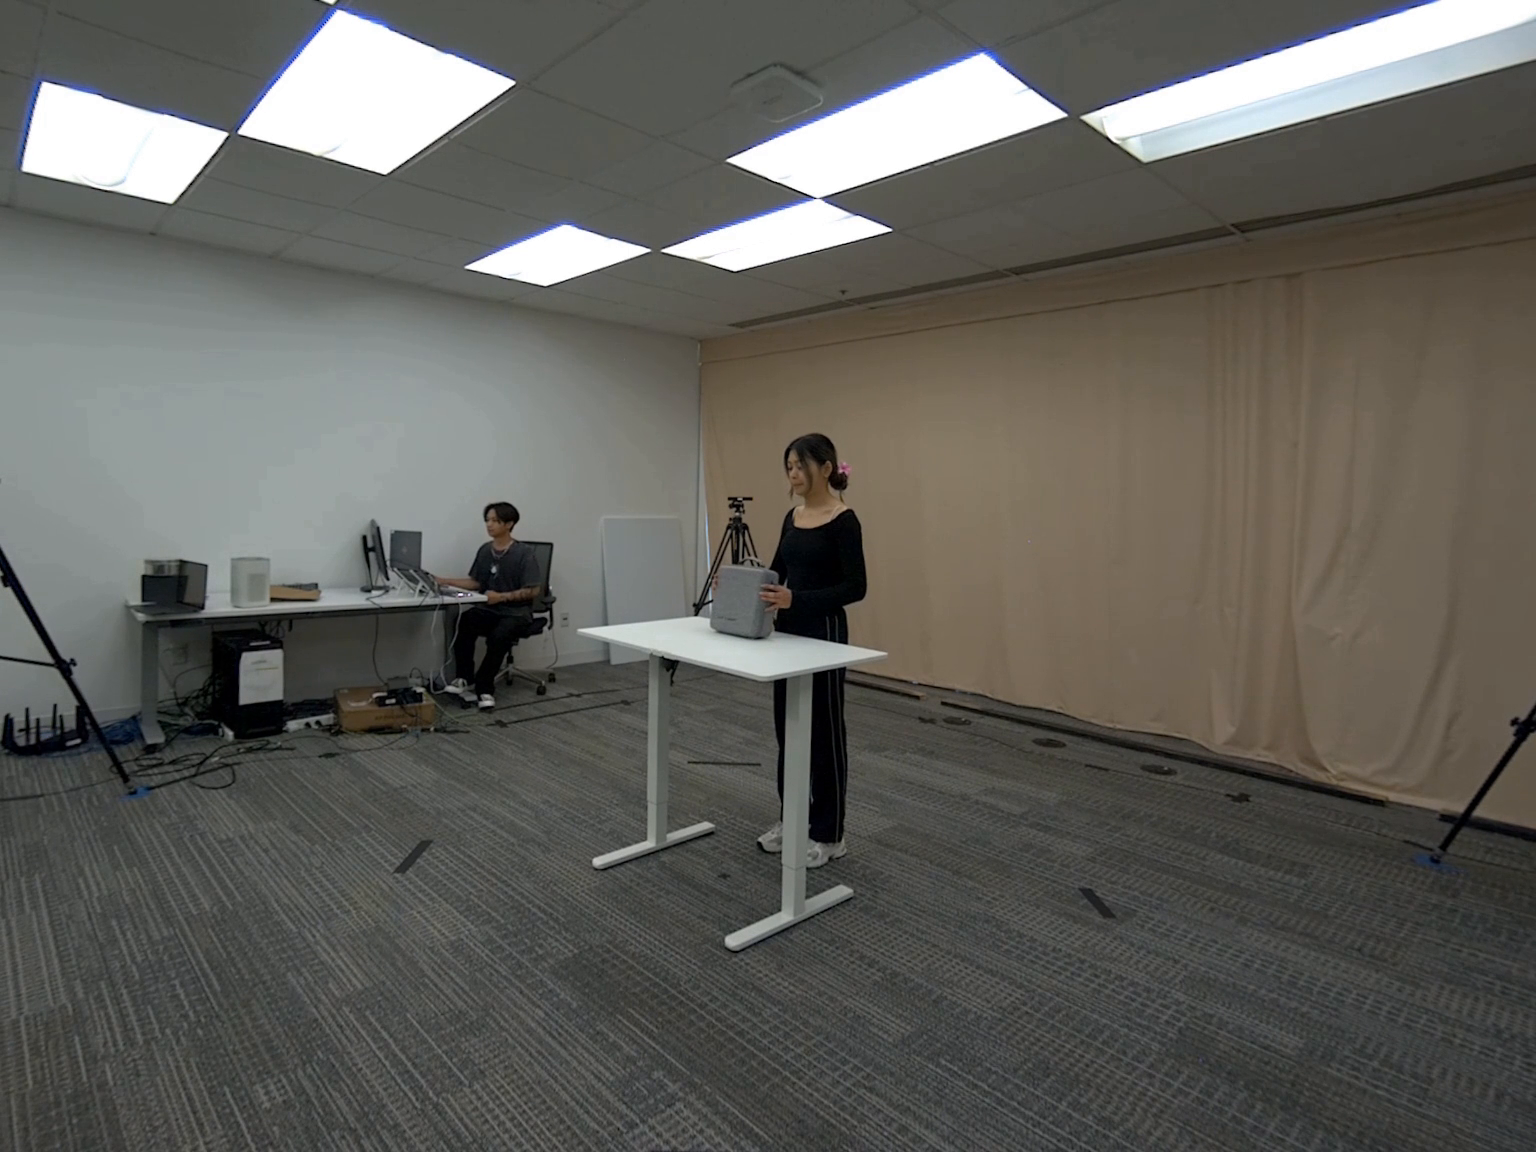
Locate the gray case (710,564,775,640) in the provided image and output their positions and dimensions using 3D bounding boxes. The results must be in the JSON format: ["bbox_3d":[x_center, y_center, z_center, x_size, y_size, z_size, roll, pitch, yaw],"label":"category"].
[{"bbox_3d":[-0.099,0.091,3.135,0.101,0.261,0.263,10,-3,-41],"label":"gray case"}]
